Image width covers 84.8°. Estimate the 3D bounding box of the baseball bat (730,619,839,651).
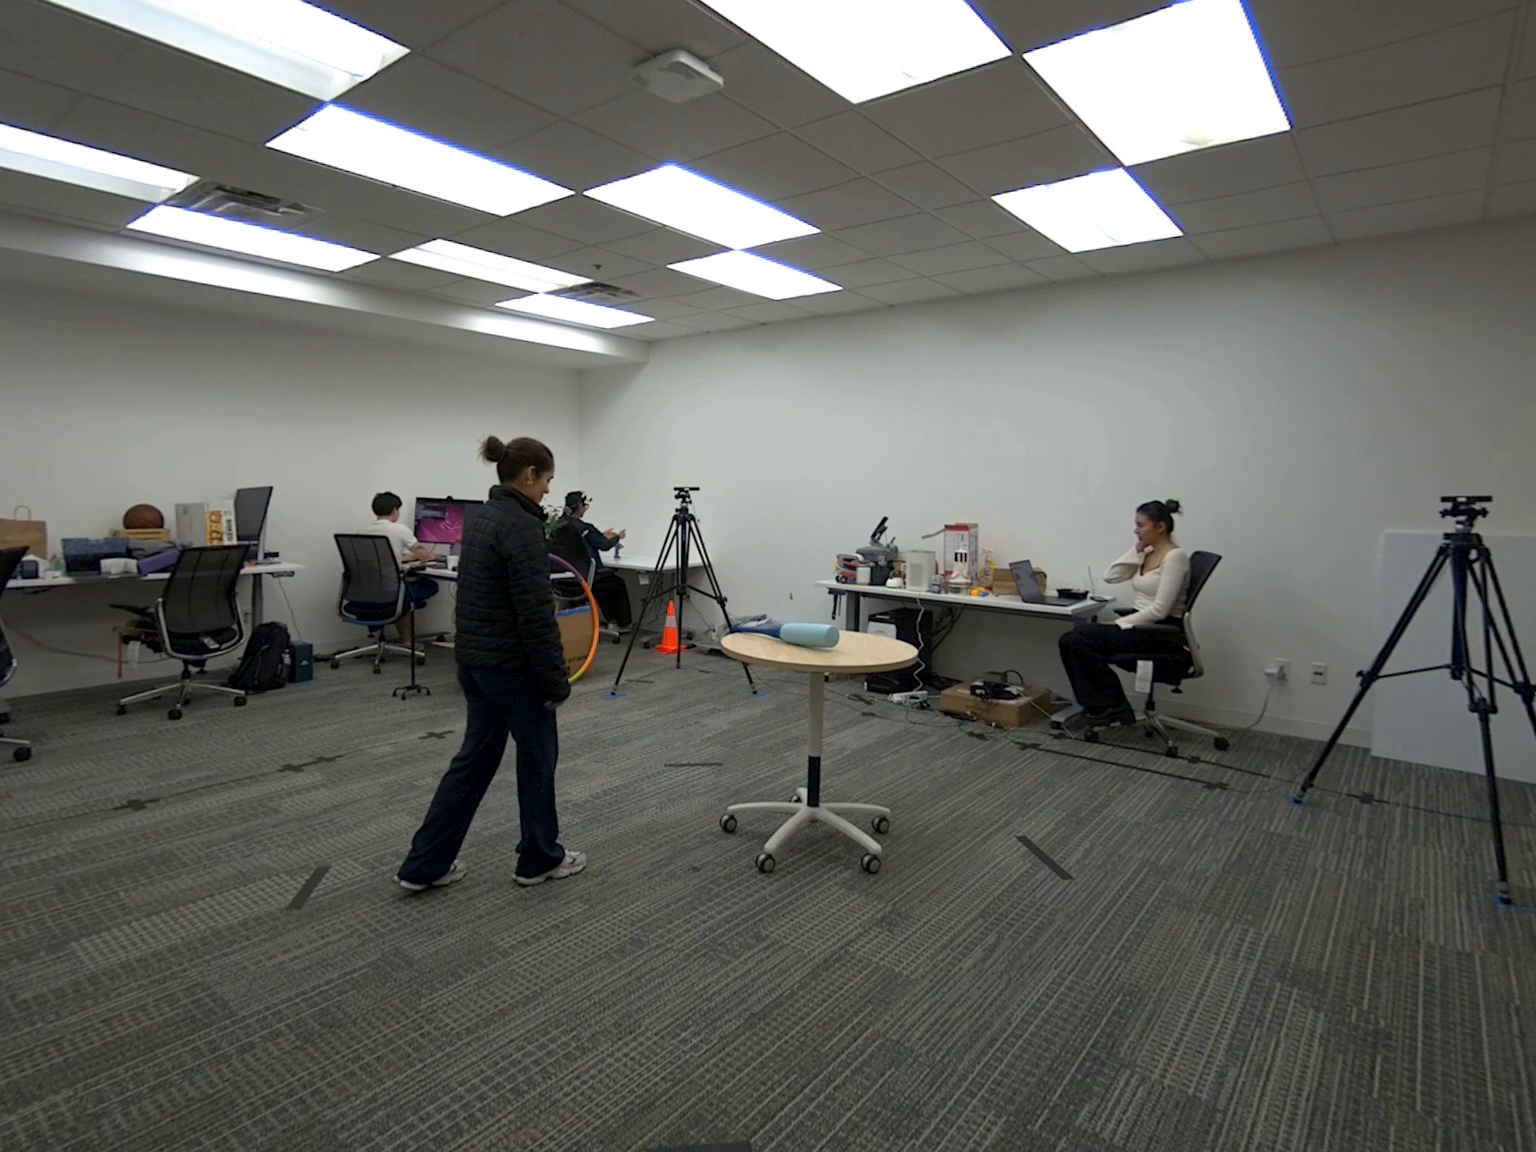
[{"bbox_3d":[0.065,0.226,3.394,0.086,0.089,0.560,-3,3,-44],"label":"baseball bat"}]
